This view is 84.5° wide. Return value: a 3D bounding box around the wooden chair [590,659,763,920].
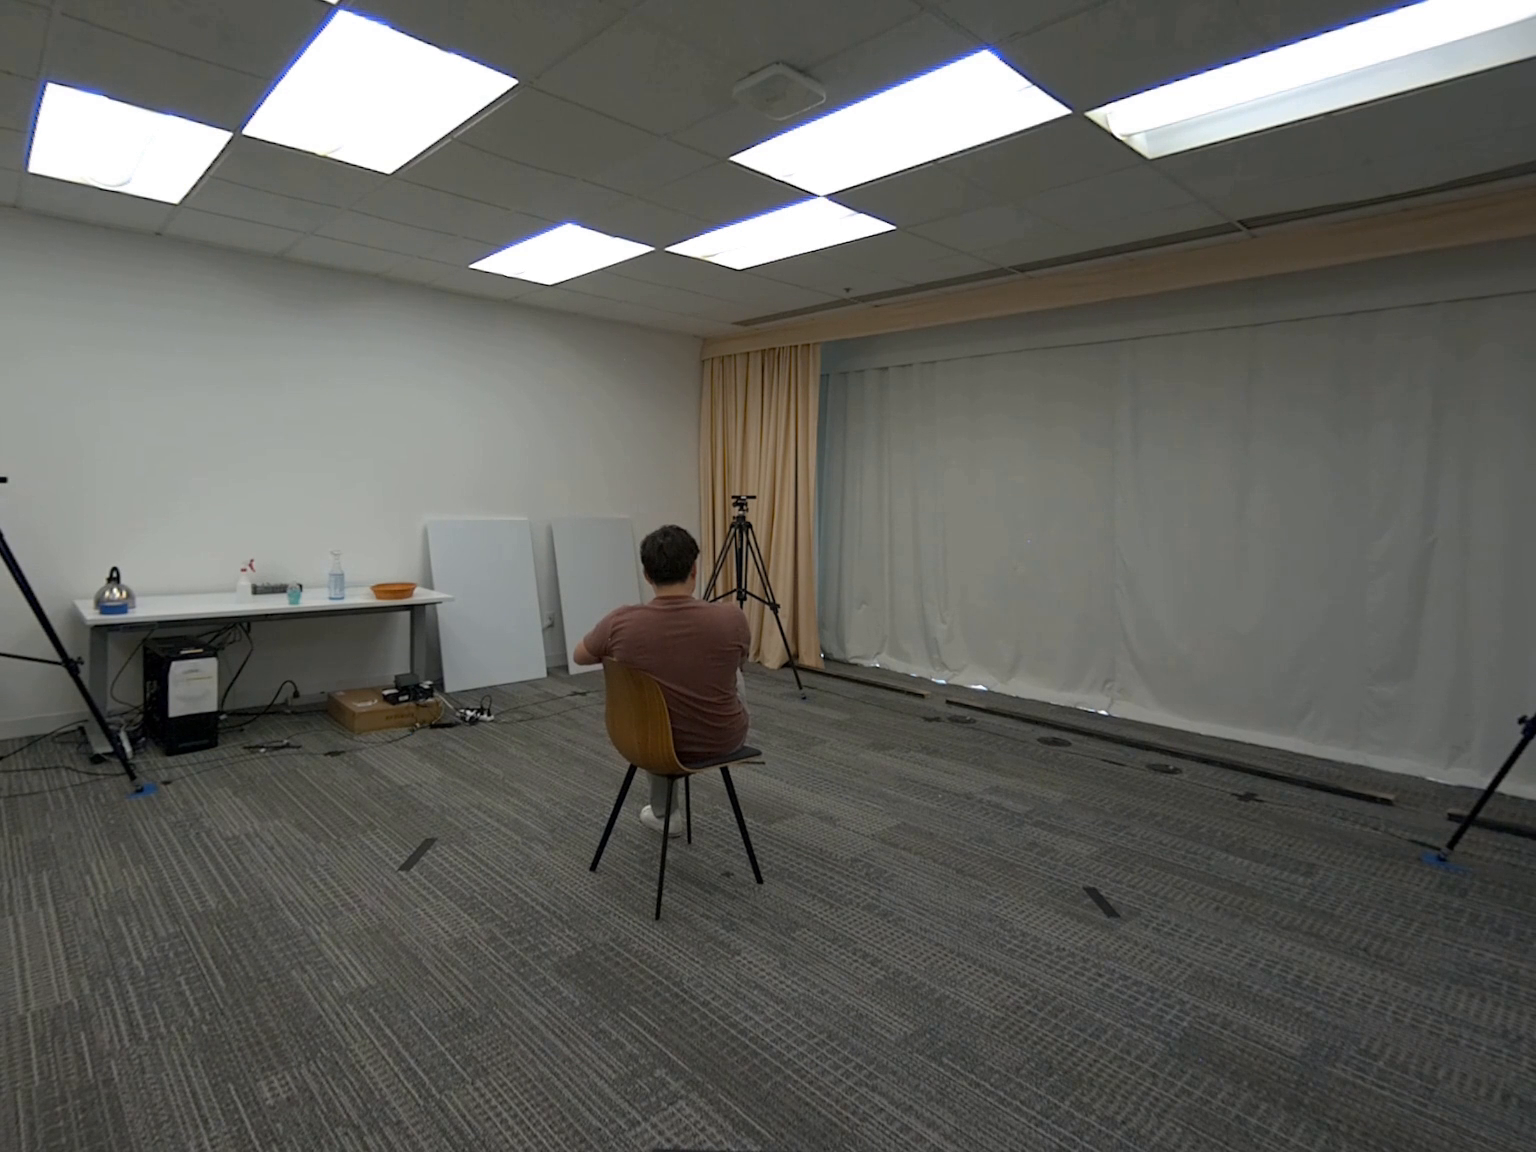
[{"bbox_3d":[-0.325,0.677,3.042,0.512,0.873,0.490,-7,8,-39],"label":"wooden chair"}]
